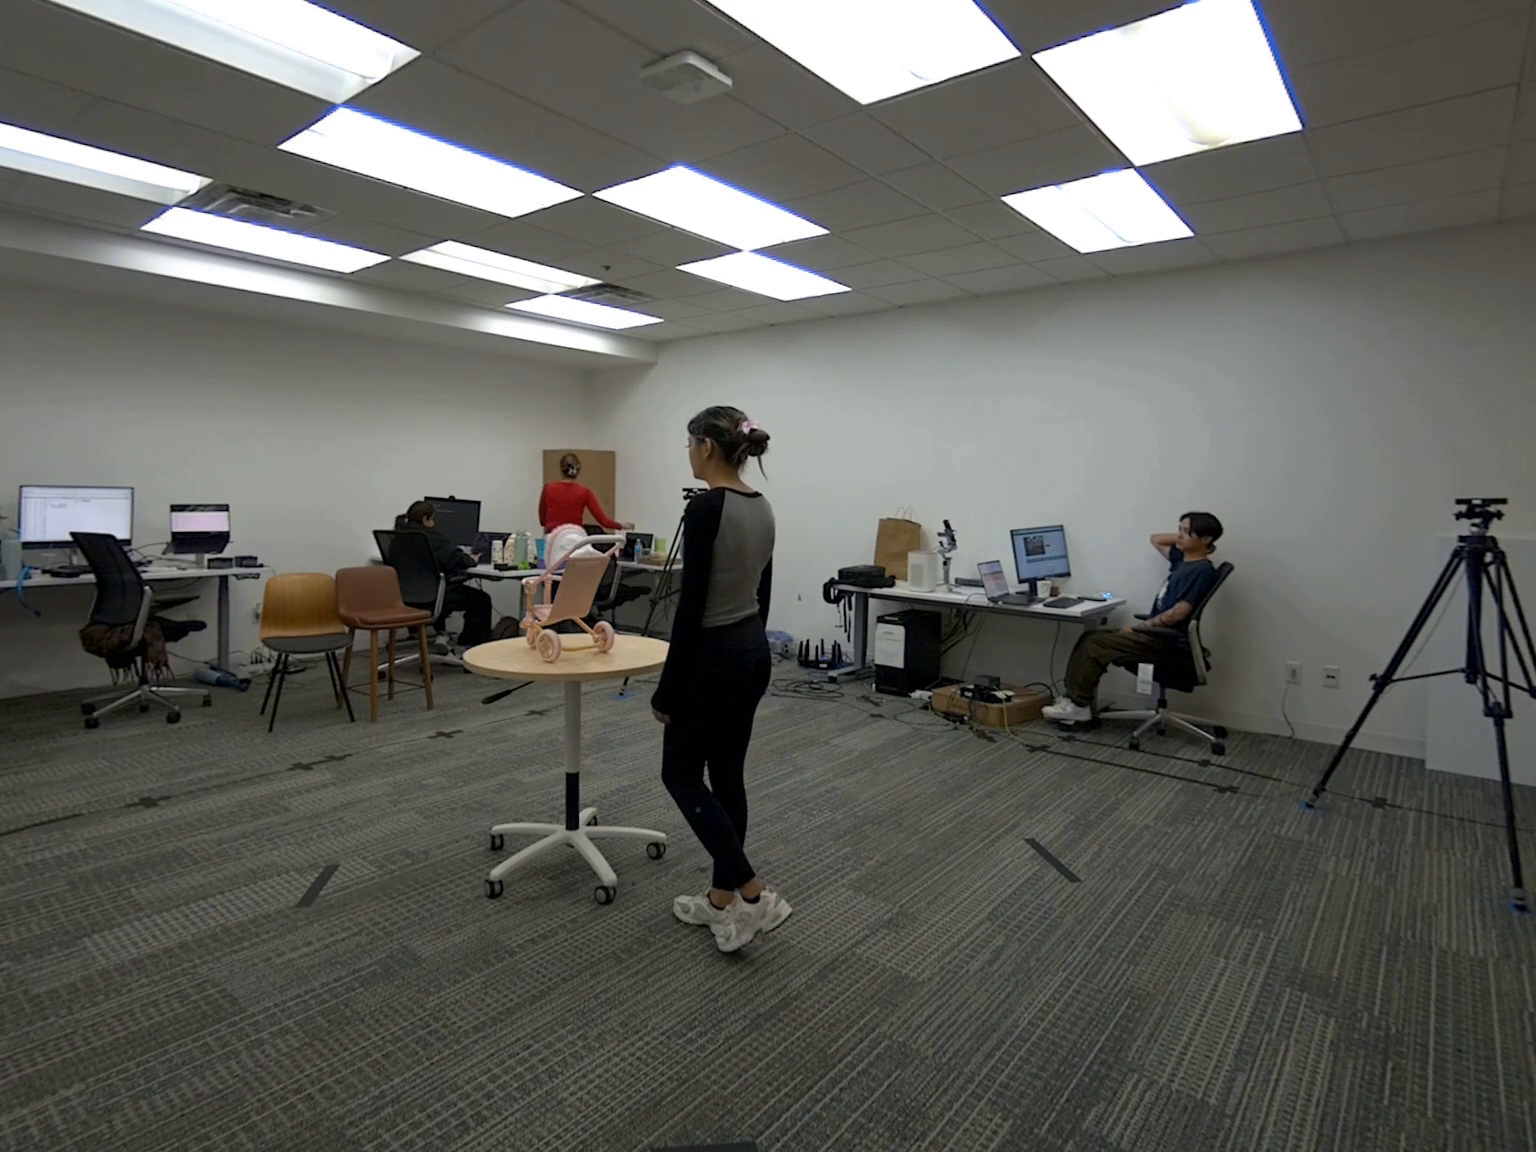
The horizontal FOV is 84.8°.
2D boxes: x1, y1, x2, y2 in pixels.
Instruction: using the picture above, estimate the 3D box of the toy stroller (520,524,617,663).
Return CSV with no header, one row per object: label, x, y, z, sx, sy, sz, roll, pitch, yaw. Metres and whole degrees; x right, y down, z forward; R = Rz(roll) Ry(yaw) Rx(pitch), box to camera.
toy stroller,-0.728,0.056,3.007,0.355,0.530,0.273,24,18,40
